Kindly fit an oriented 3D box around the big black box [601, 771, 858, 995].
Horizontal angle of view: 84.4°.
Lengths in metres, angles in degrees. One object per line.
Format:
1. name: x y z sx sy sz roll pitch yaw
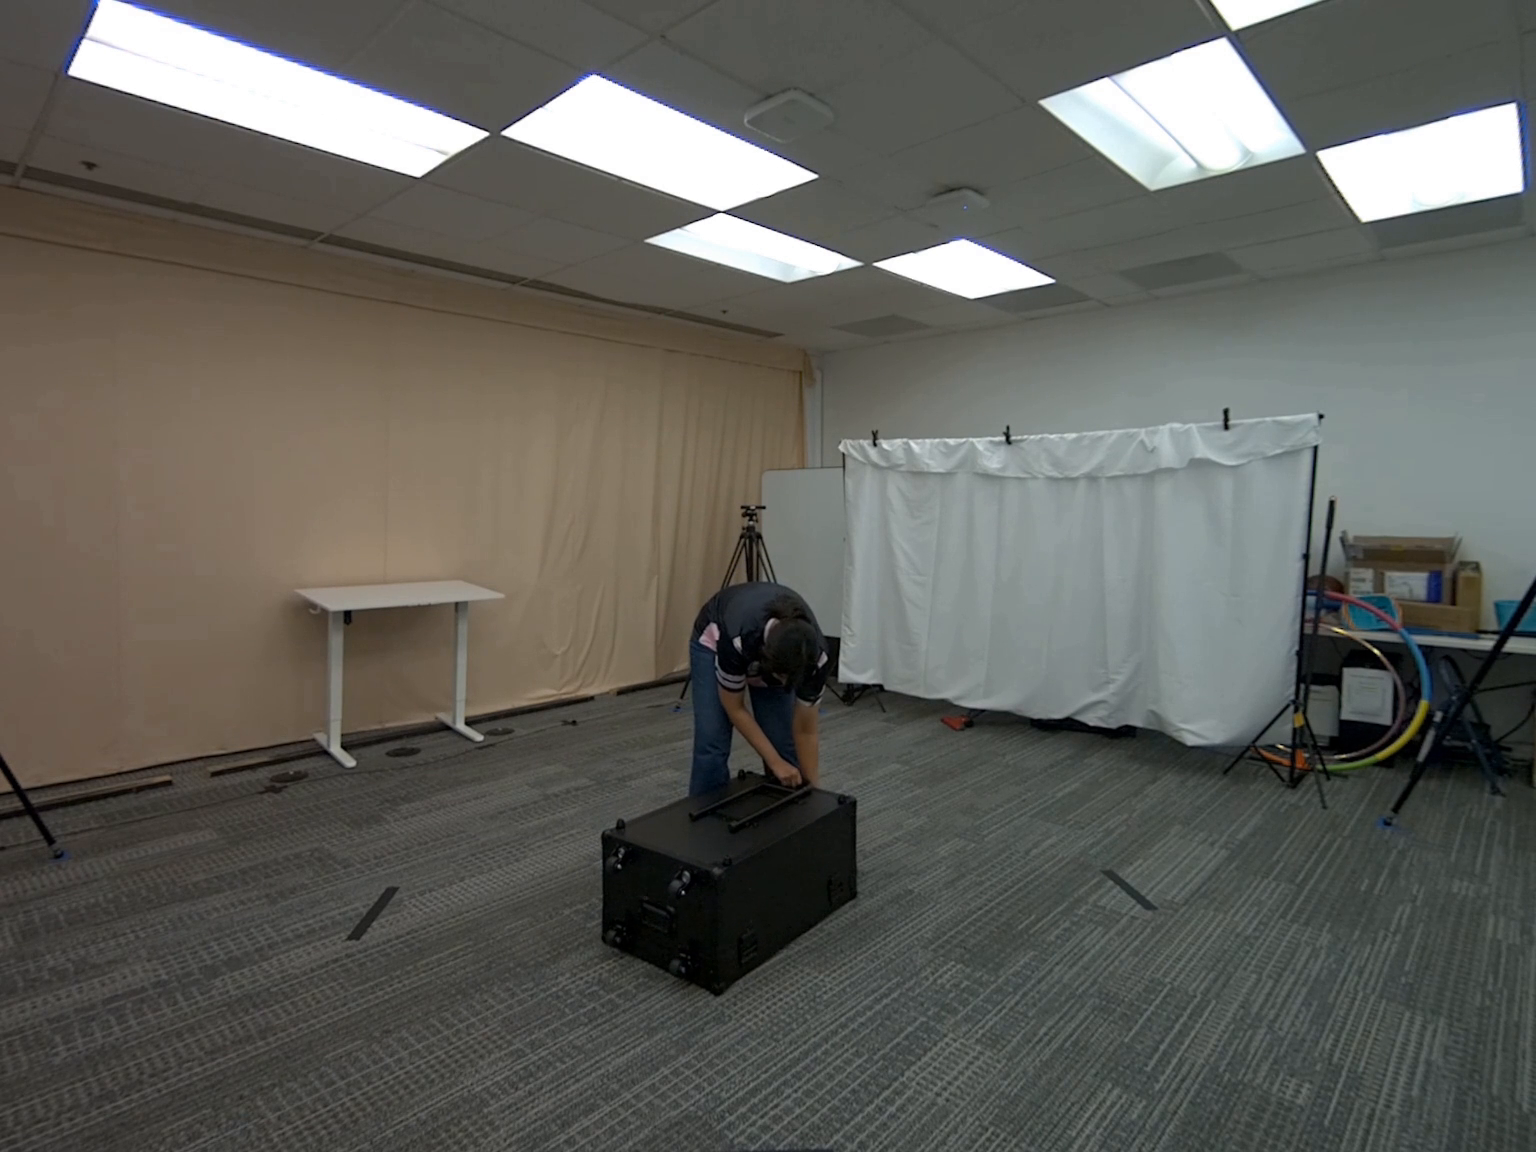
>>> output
1. big black box: -0.120 0.978 2.794 0.541 0.384 0.843 5 7 37
